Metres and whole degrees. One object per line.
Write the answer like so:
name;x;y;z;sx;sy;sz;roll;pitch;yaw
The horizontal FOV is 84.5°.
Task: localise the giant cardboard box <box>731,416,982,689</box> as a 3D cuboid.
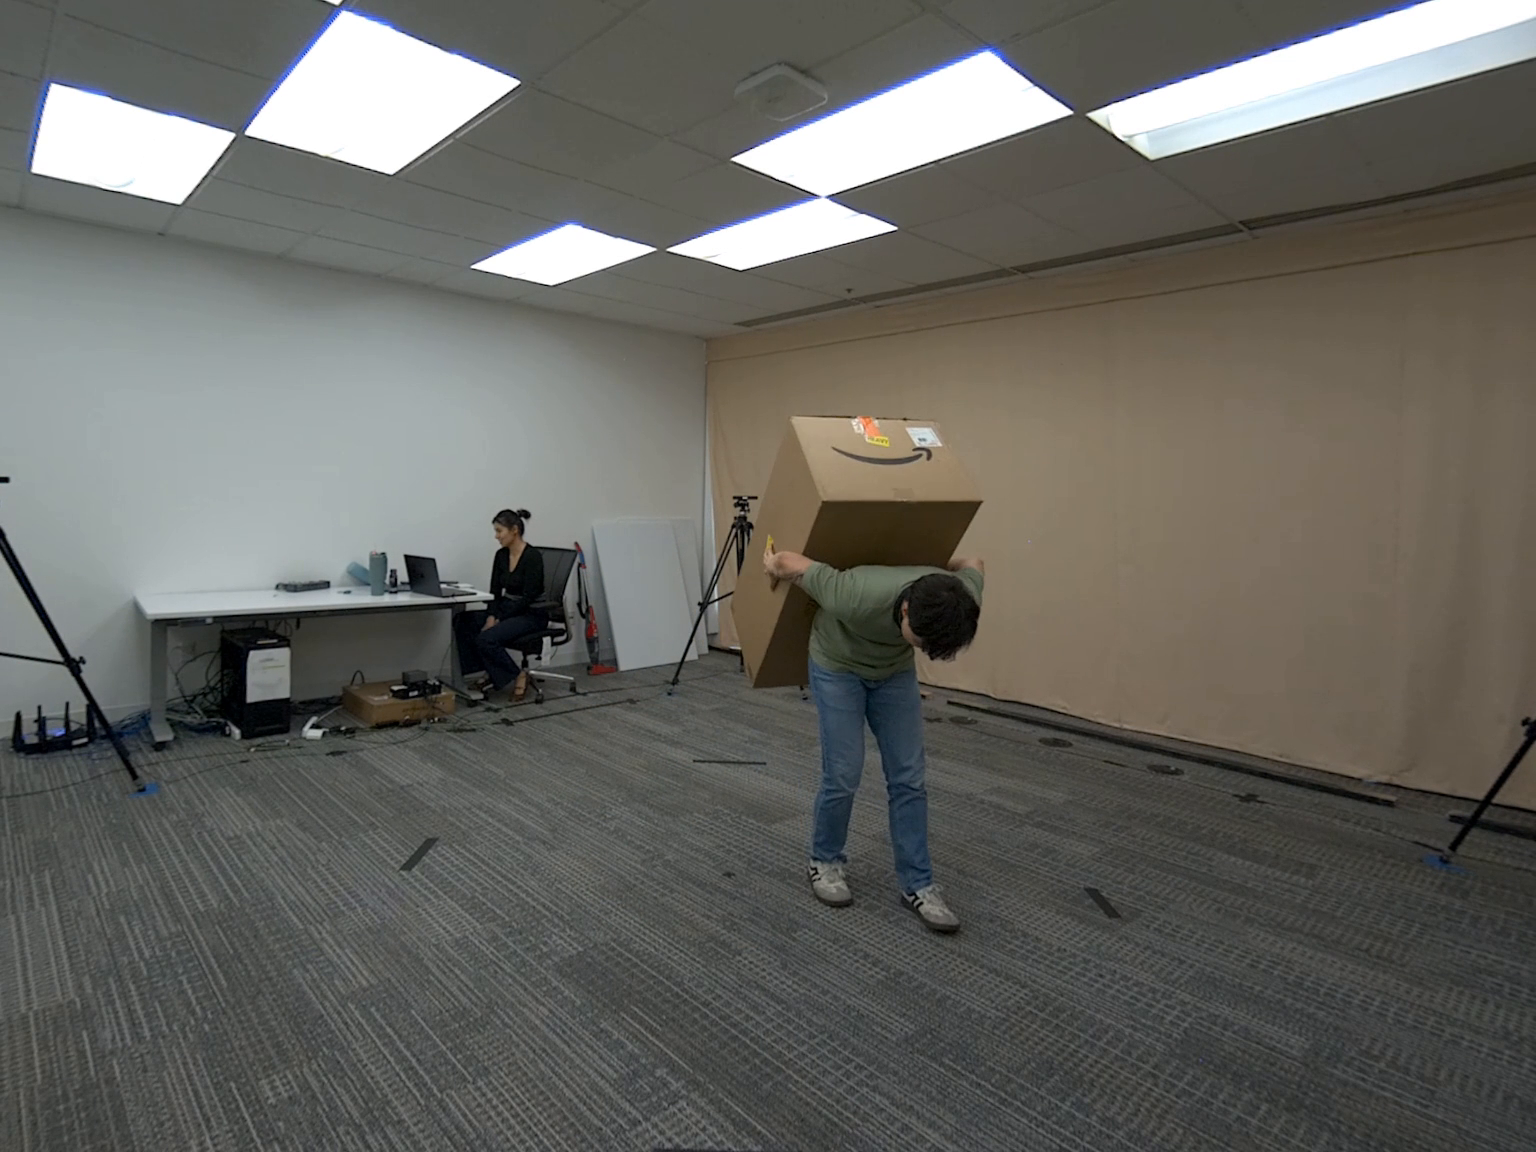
giant cardboard box;0.258;-0.058;3.150;0.570;1.011;0.438;0;48;-18
